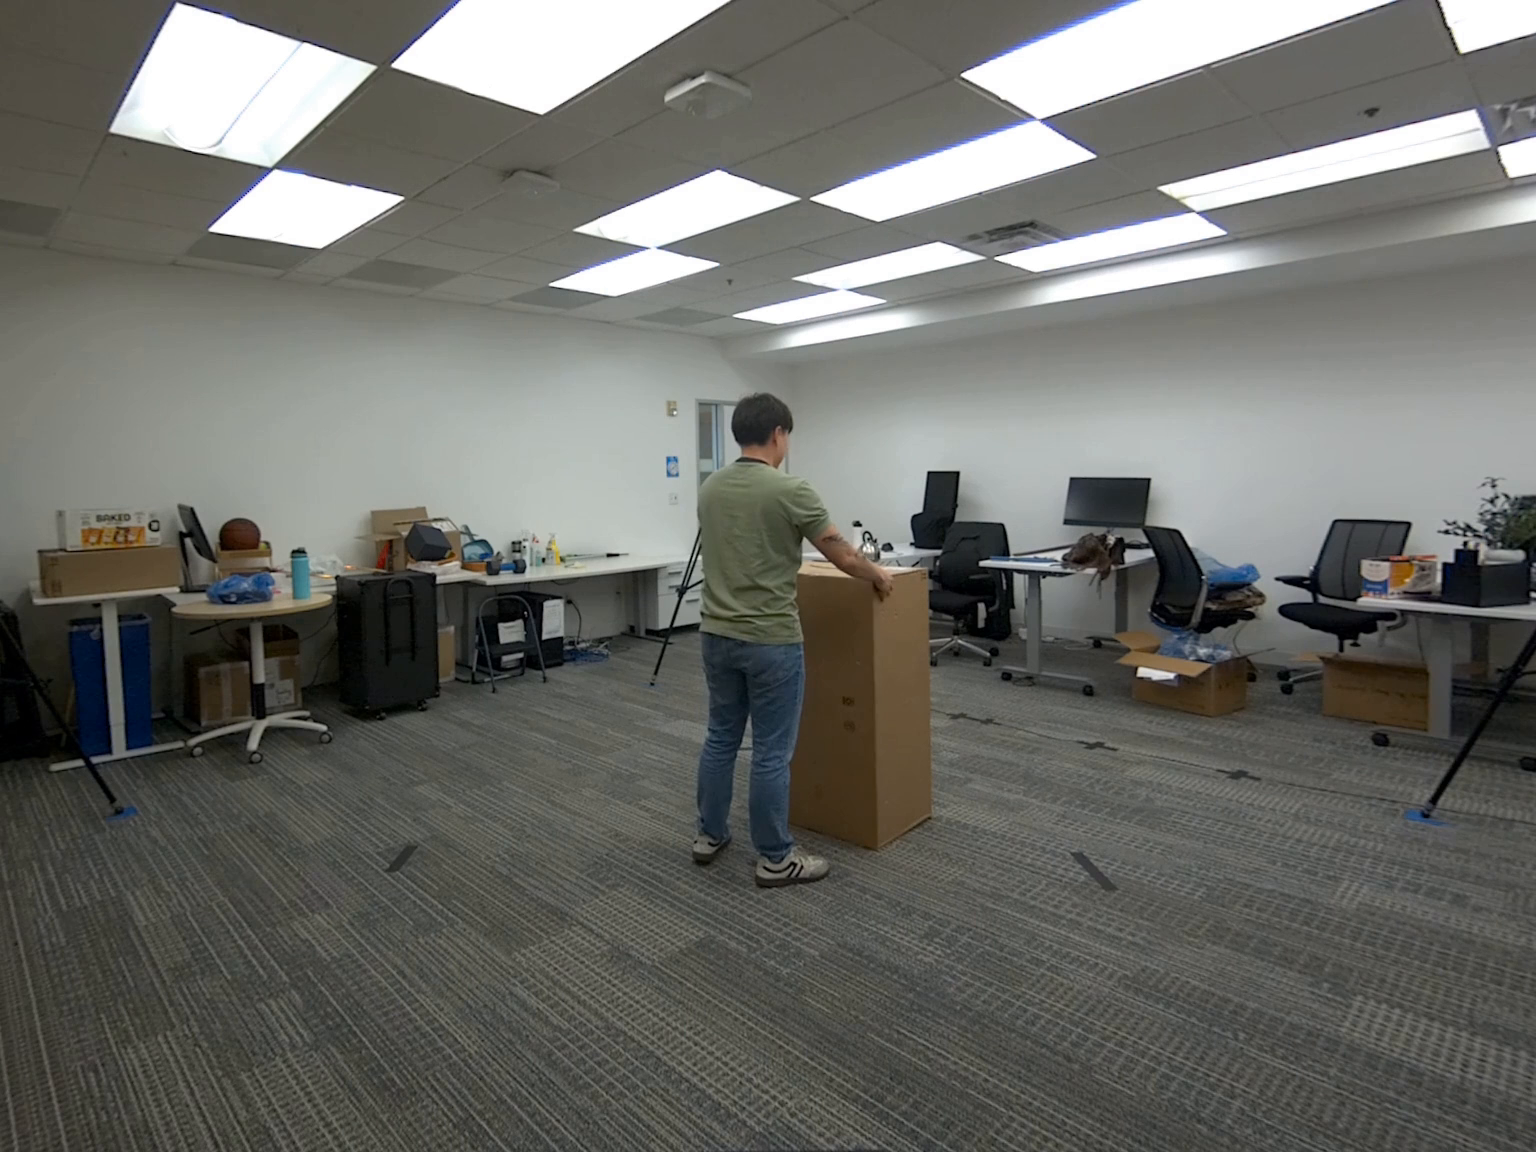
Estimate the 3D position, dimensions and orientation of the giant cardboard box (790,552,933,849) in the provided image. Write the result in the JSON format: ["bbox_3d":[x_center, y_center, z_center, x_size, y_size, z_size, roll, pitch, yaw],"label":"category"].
[{"bbox_3d":[0.311,0.482,3.504,0.595,1.022,0.415,2,6,40],"label":"giant cardboard box"}]
